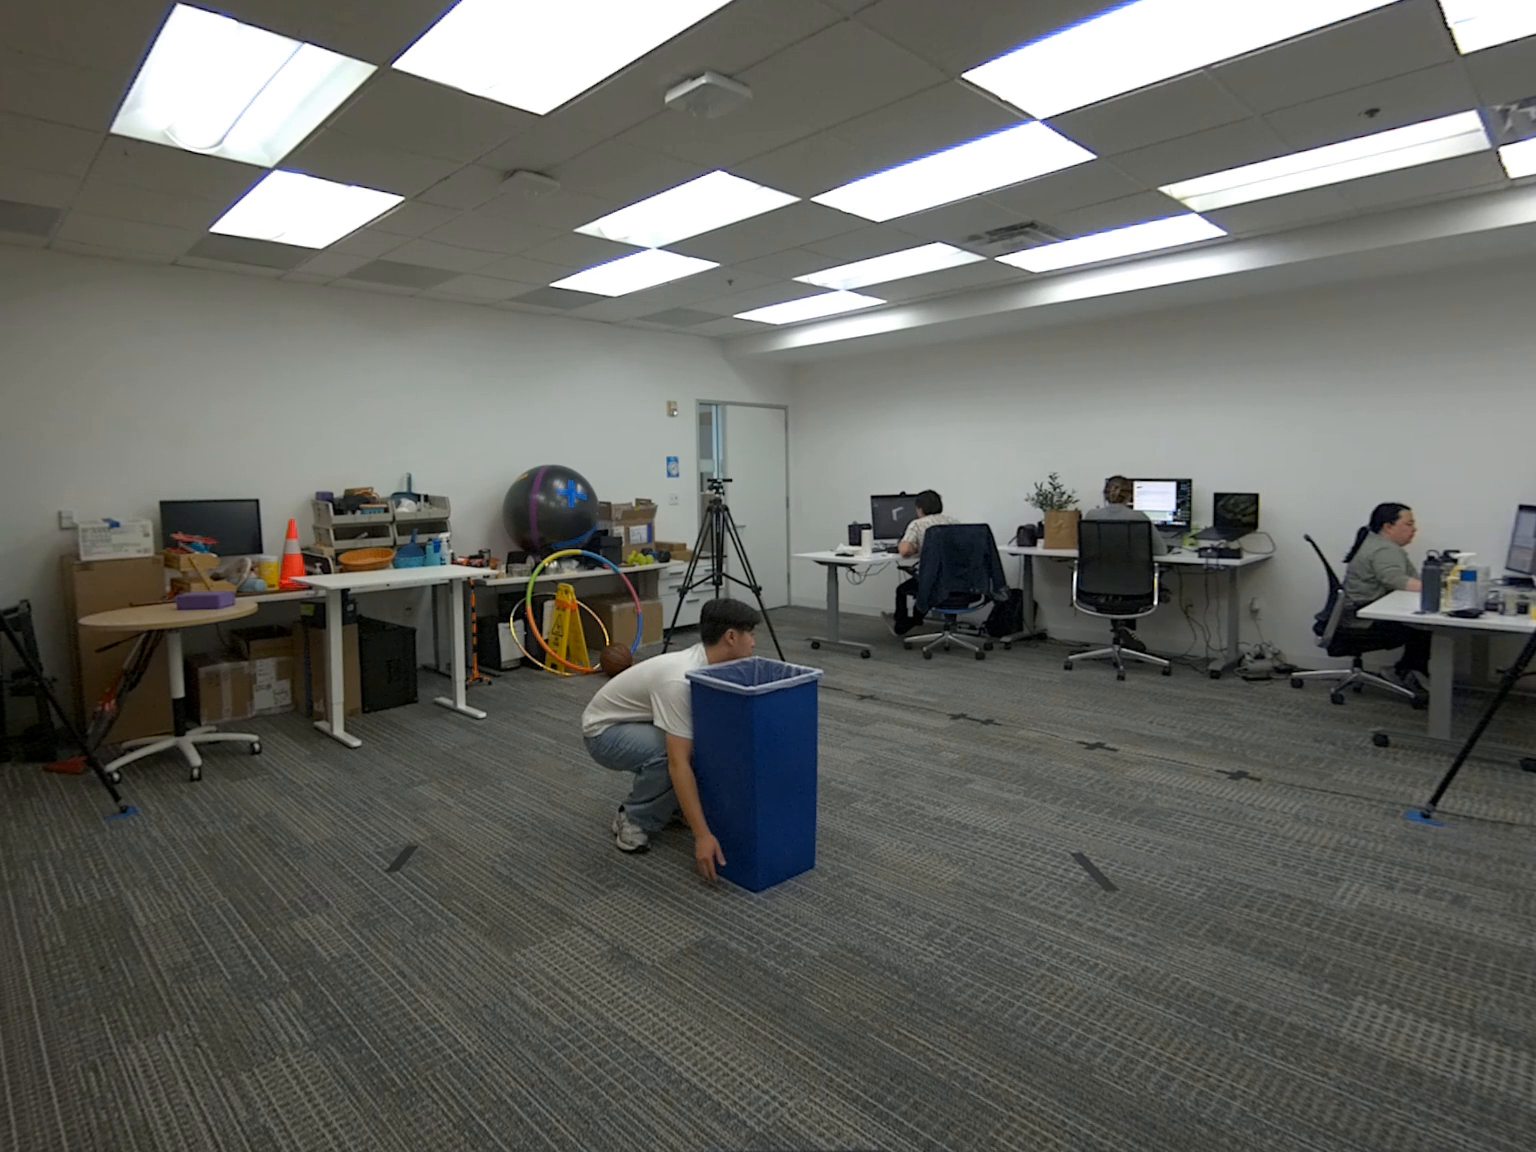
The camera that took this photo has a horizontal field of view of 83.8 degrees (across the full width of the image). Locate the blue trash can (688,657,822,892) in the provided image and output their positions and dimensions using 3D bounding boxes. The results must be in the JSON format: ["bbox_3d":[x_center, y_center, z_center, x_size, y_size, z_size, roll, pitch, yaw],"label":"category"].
[{"bbox_3d":[-0.040,0.691,3.057,0.364,0.711,0.389,-5,5,-42],"label":"blue trash can"}]
